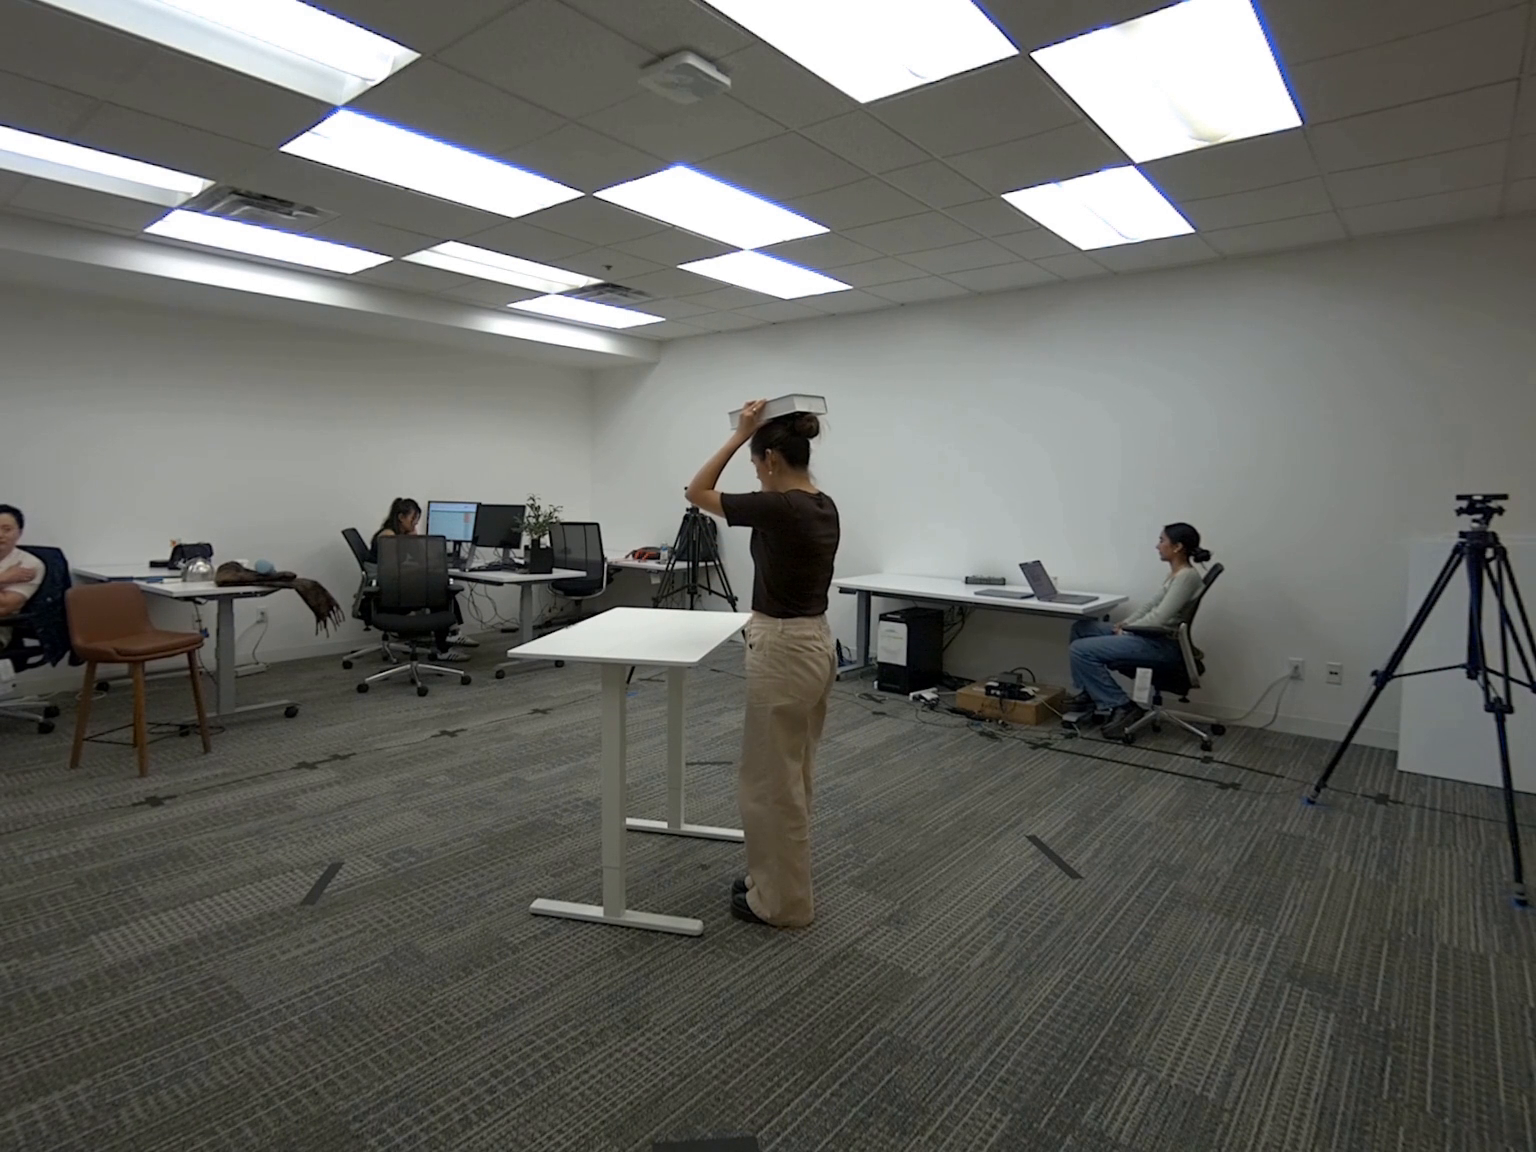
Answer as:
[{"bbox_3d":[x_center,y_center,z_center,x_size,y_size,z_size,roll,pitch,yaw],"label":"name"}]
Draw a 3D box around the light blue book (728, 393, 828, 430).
[{"bbox_3d":[0.025,-0.529,2.743,0.268,0.059,0.186,-9,2,36],"label":"light blue book"}]
